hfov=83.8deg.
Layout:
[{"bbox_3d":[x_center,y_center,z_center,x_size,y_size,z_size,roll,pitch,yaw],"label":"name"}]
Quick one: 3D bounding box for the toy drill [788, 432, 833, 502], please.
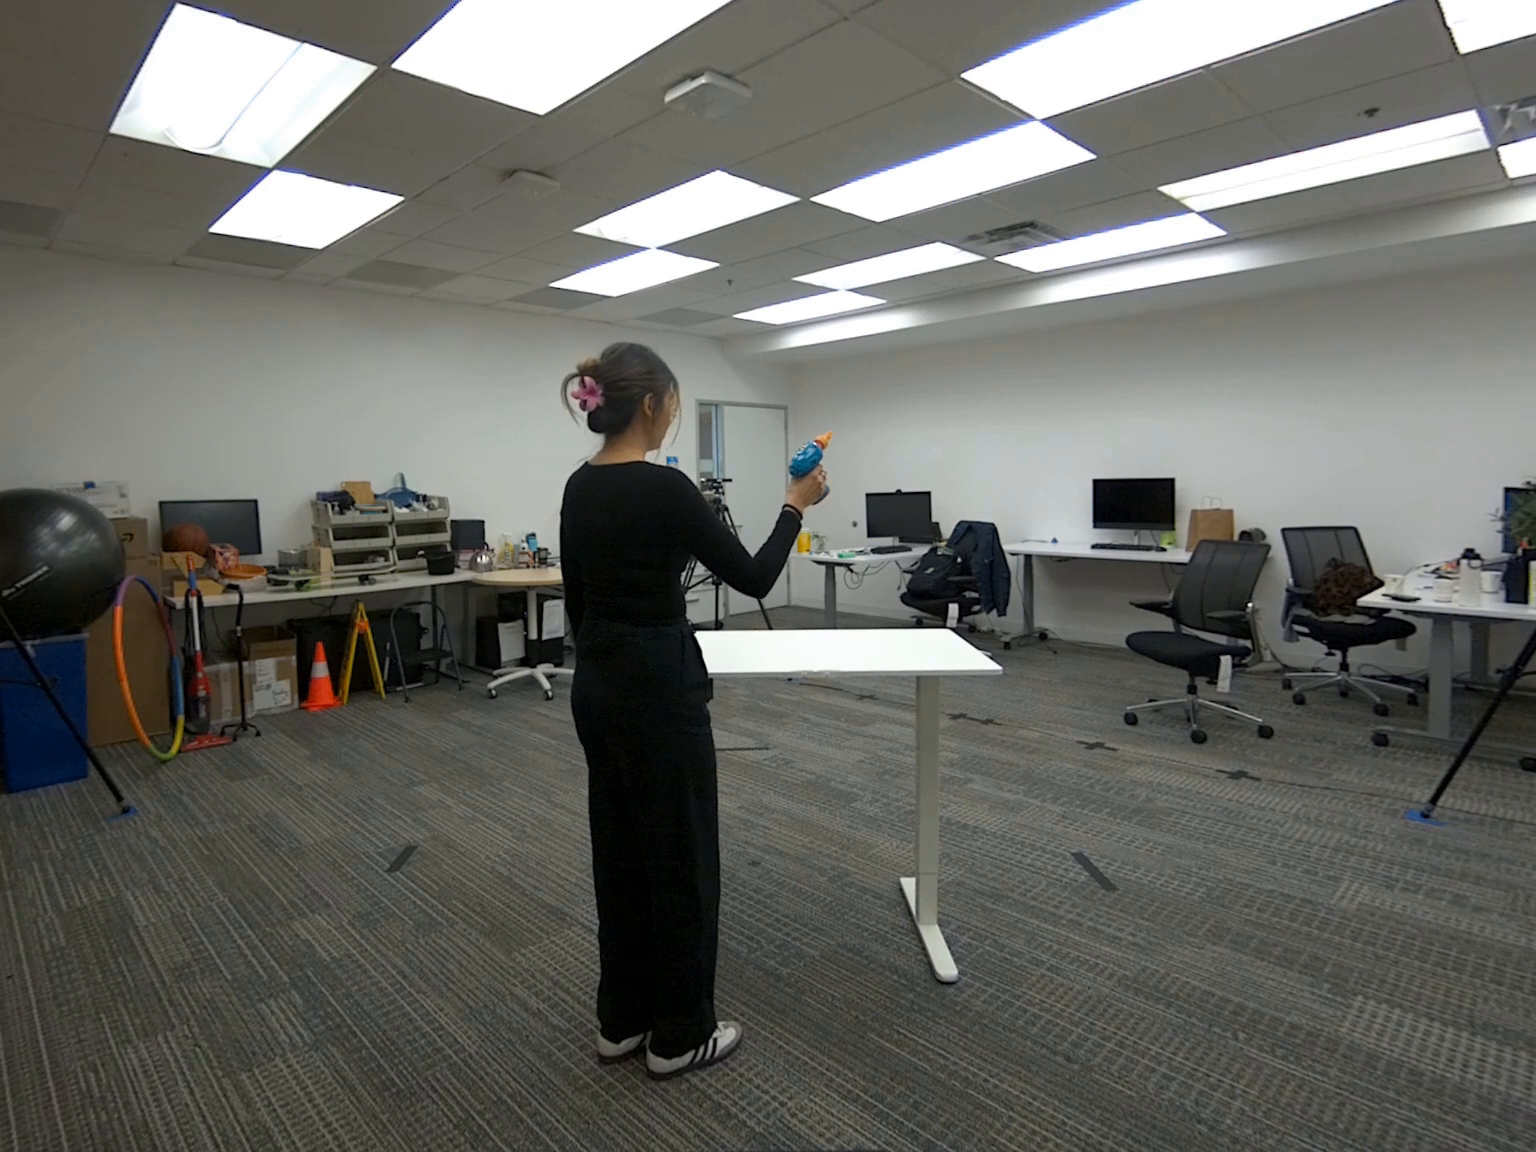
[{"bbox_3d":[0.126,-0.280,2.138,0.063,0.141,0.170,17,58,43],"label":"toy drill"}]
